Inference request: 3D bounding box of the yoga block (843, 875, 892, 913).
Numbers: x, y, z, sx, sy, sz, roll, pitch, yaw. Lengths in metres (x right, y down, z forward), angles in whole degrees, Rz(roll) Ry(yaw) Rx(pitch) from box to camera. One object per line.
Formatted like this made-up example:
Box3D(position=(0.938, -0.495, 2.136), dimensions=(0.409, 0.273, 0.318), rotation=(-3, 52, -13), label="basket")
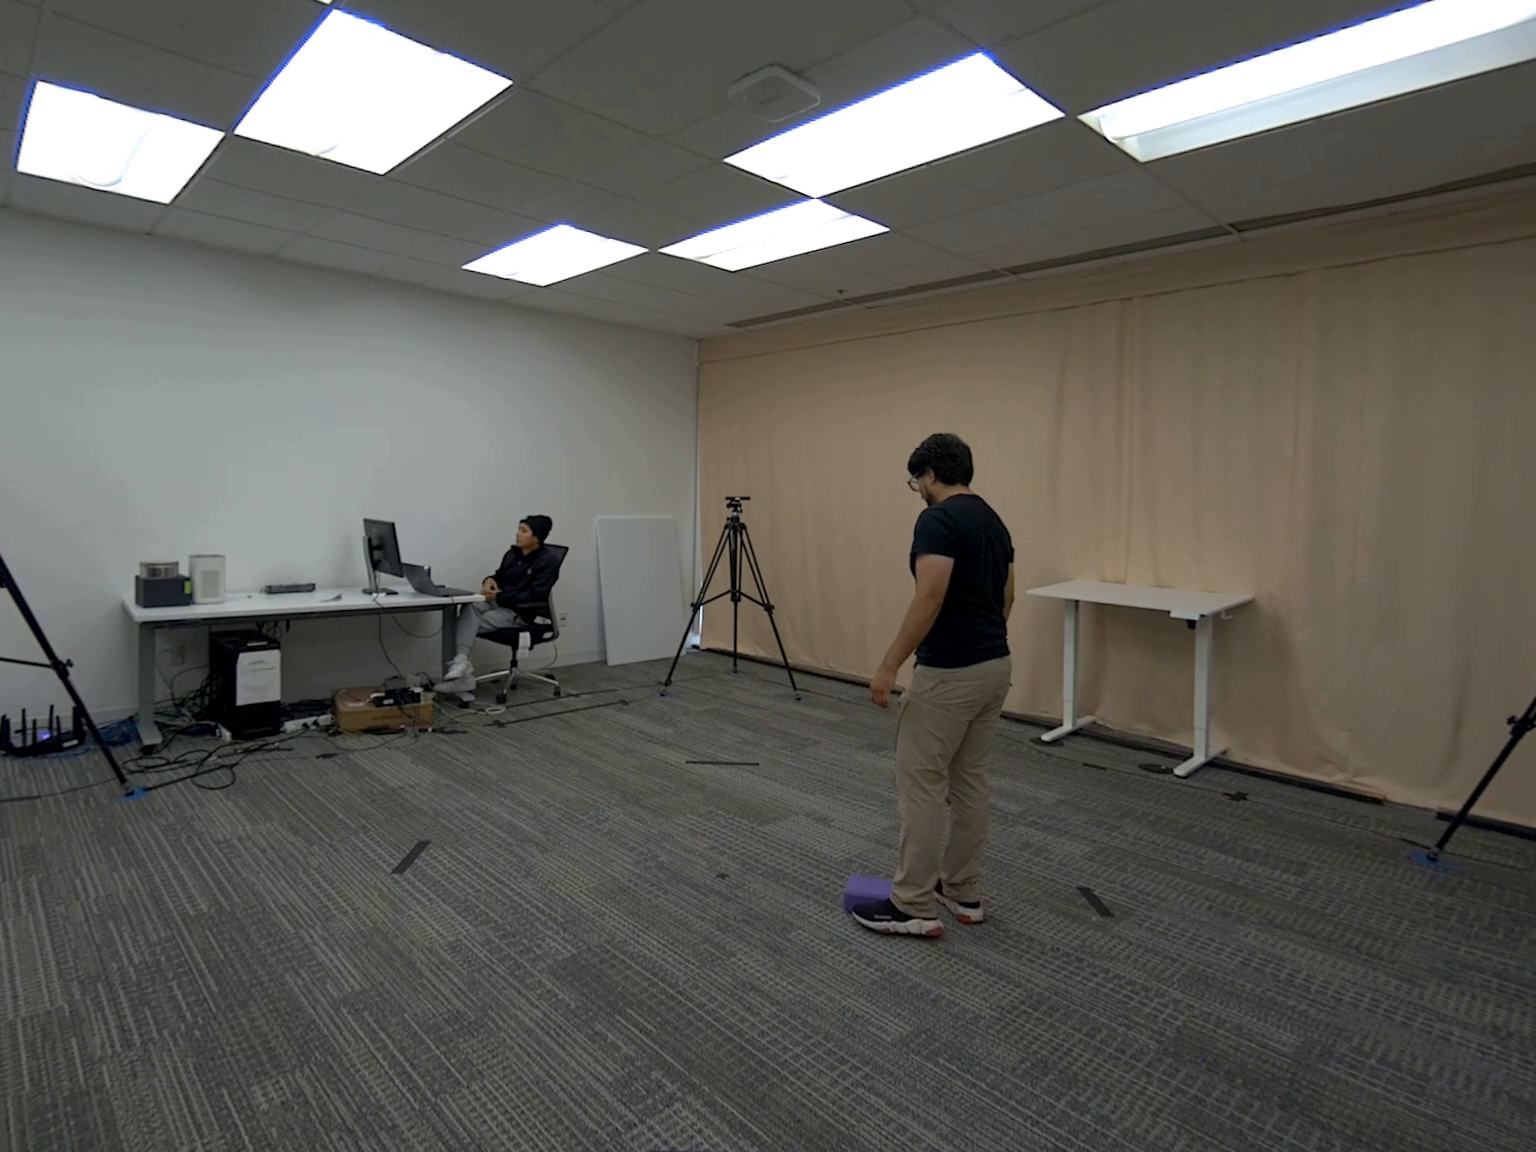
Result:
Box3D(position=(0.382, 1.098, 2.875), dimensions=(0.232, 0.076, 0.147), rotation=(3, 6, 17), label="yoga block")
